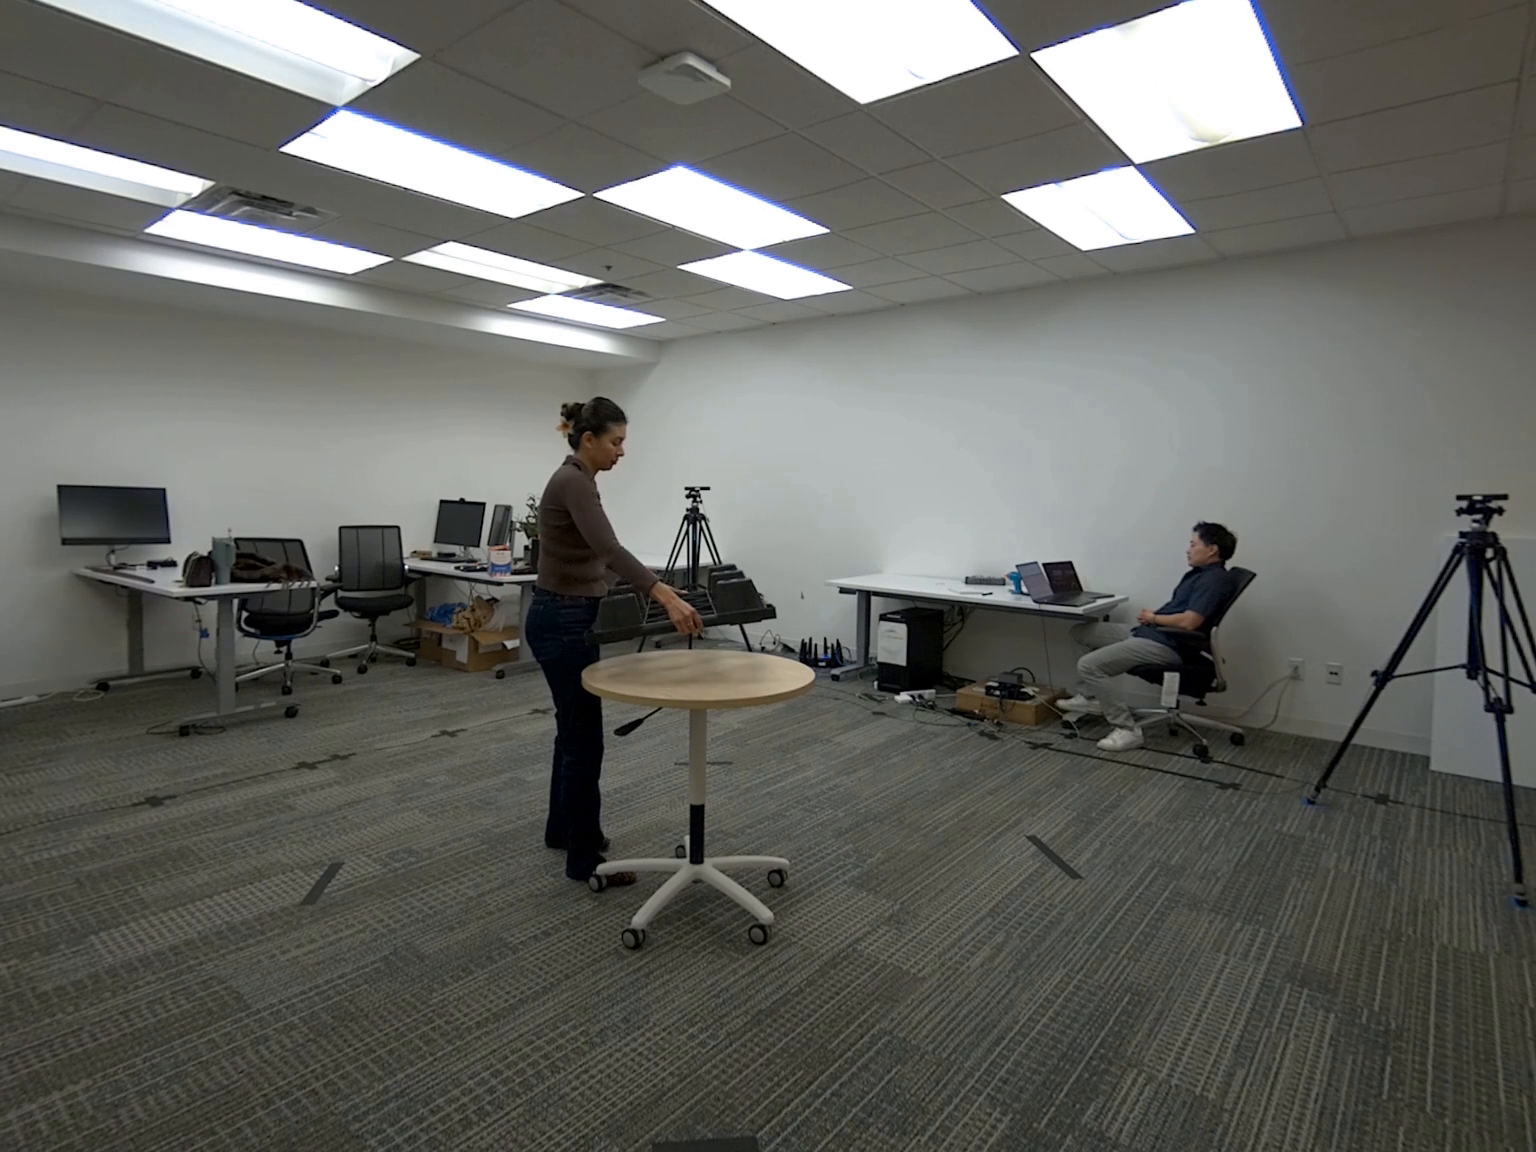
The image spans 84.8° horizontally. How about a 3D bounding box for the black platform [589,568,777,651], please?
[{"bbox_3d":[-0.333,0.084,3.011,0.603,0.143,0.811,-8,5,-4],"label":"black platform"}]
